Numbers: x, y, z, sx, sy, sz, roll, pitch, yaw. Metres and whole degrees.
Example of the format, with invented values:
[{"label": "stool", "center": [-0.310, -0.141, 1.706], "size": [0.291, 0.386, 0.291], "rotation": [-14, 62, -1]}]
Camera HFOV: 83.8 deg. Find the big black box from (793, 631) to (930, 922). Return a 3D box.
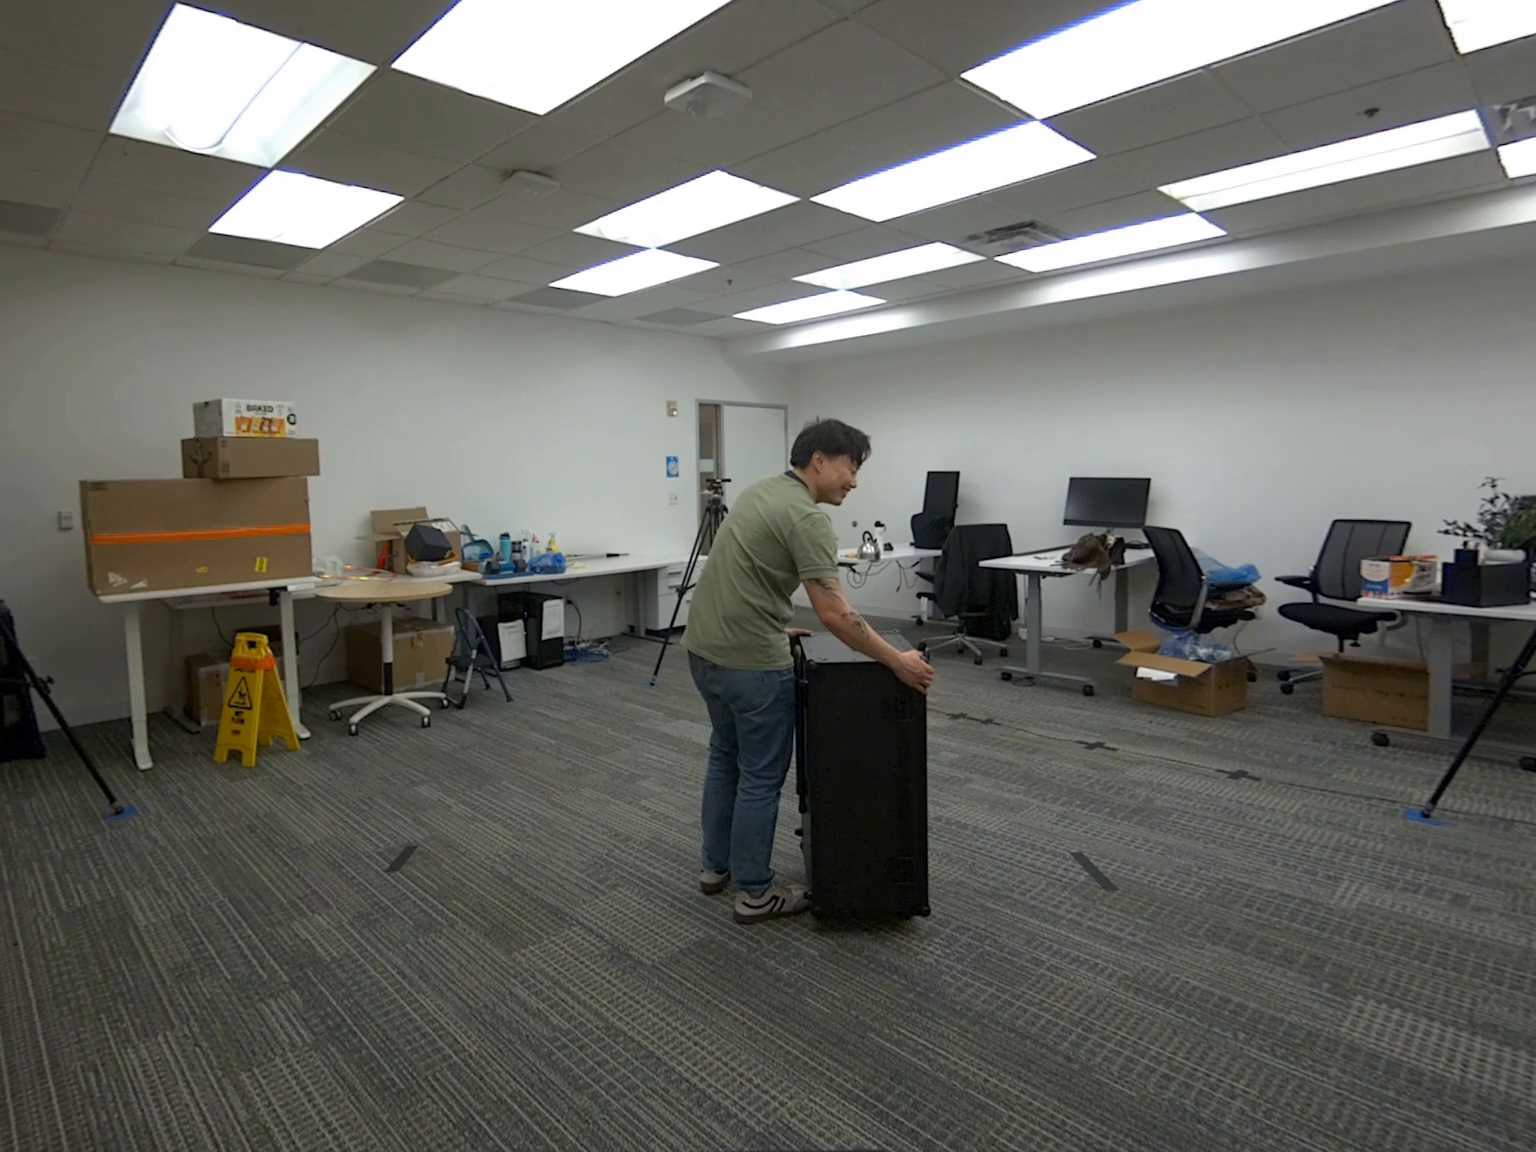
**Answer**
[{"label": "big black box", "center": [0.289, 0.649, 2.785], "size": [0.397, 0.858, 0.523], "rotation": [-1, 5, 0]}]
